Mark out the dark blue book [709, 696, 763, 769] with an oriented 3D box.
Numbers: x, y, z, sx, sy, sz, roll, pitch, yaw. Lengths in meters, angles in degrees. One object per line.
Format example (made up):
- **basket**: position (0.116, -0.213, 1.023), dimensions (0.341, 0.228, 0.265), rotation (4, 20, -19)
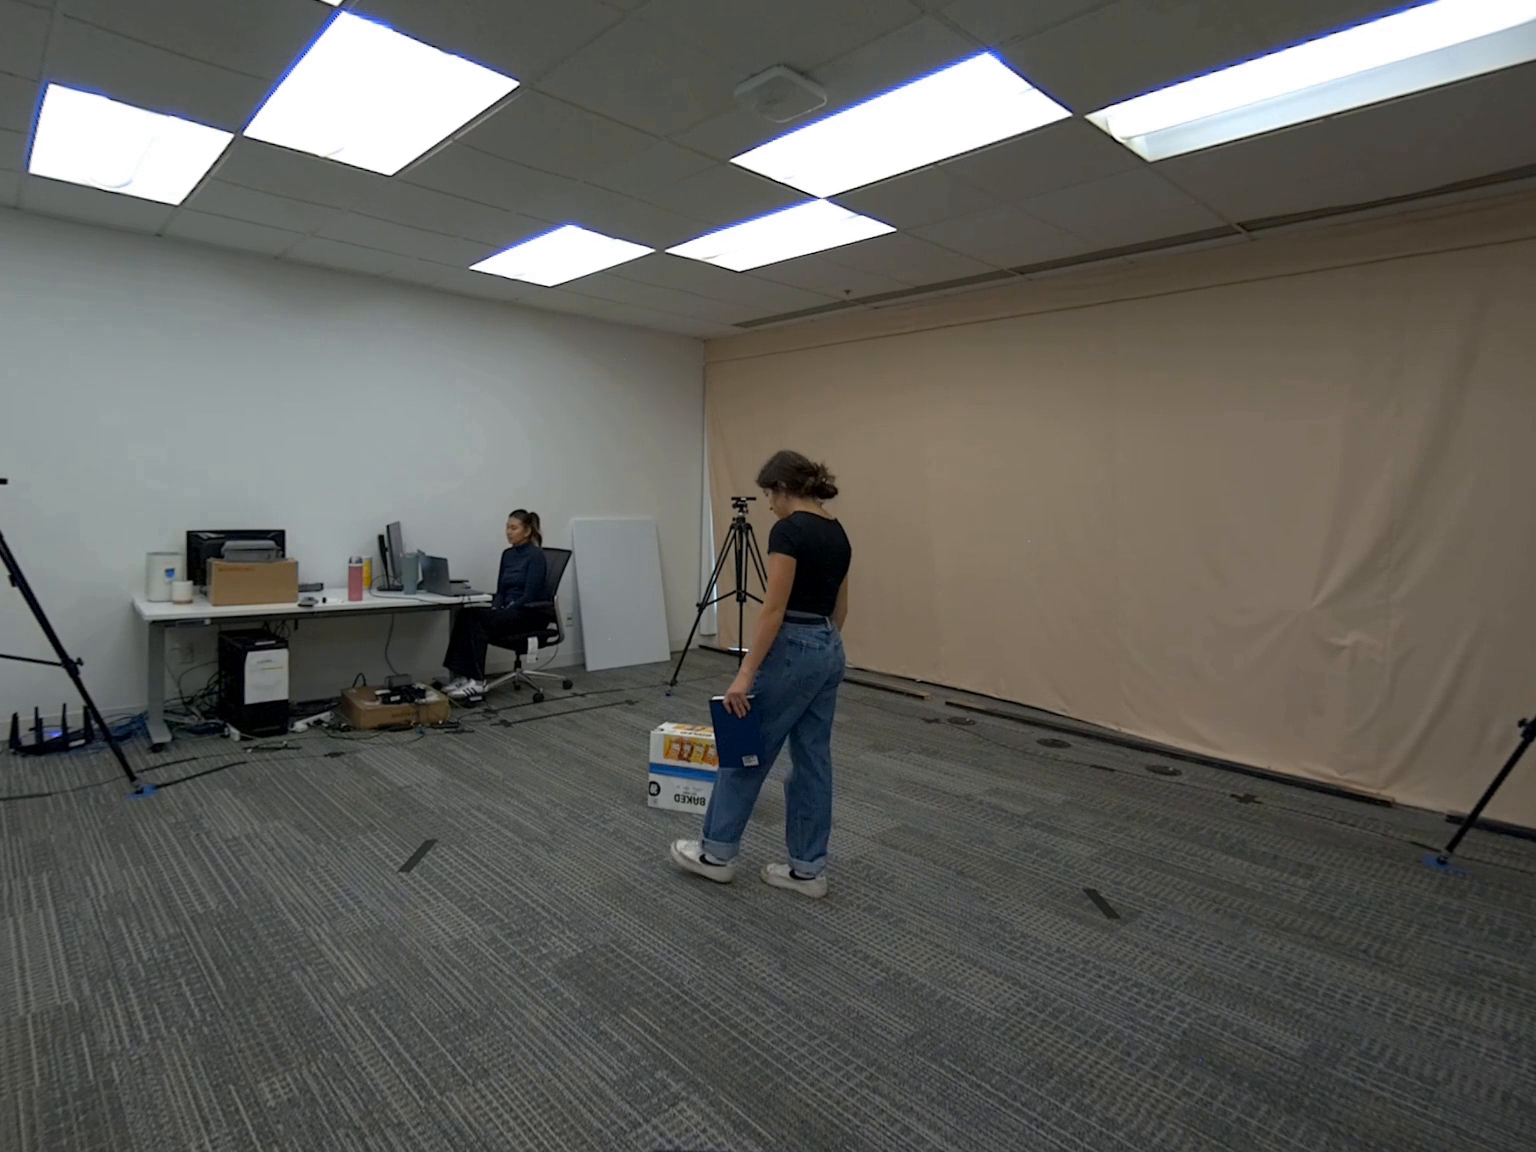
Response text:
- **dark blue book**: position (-0.108, 0.532, 2.866), dimensions (0.165, 0.243, 0.045), rotation (-3, 8, 15)
